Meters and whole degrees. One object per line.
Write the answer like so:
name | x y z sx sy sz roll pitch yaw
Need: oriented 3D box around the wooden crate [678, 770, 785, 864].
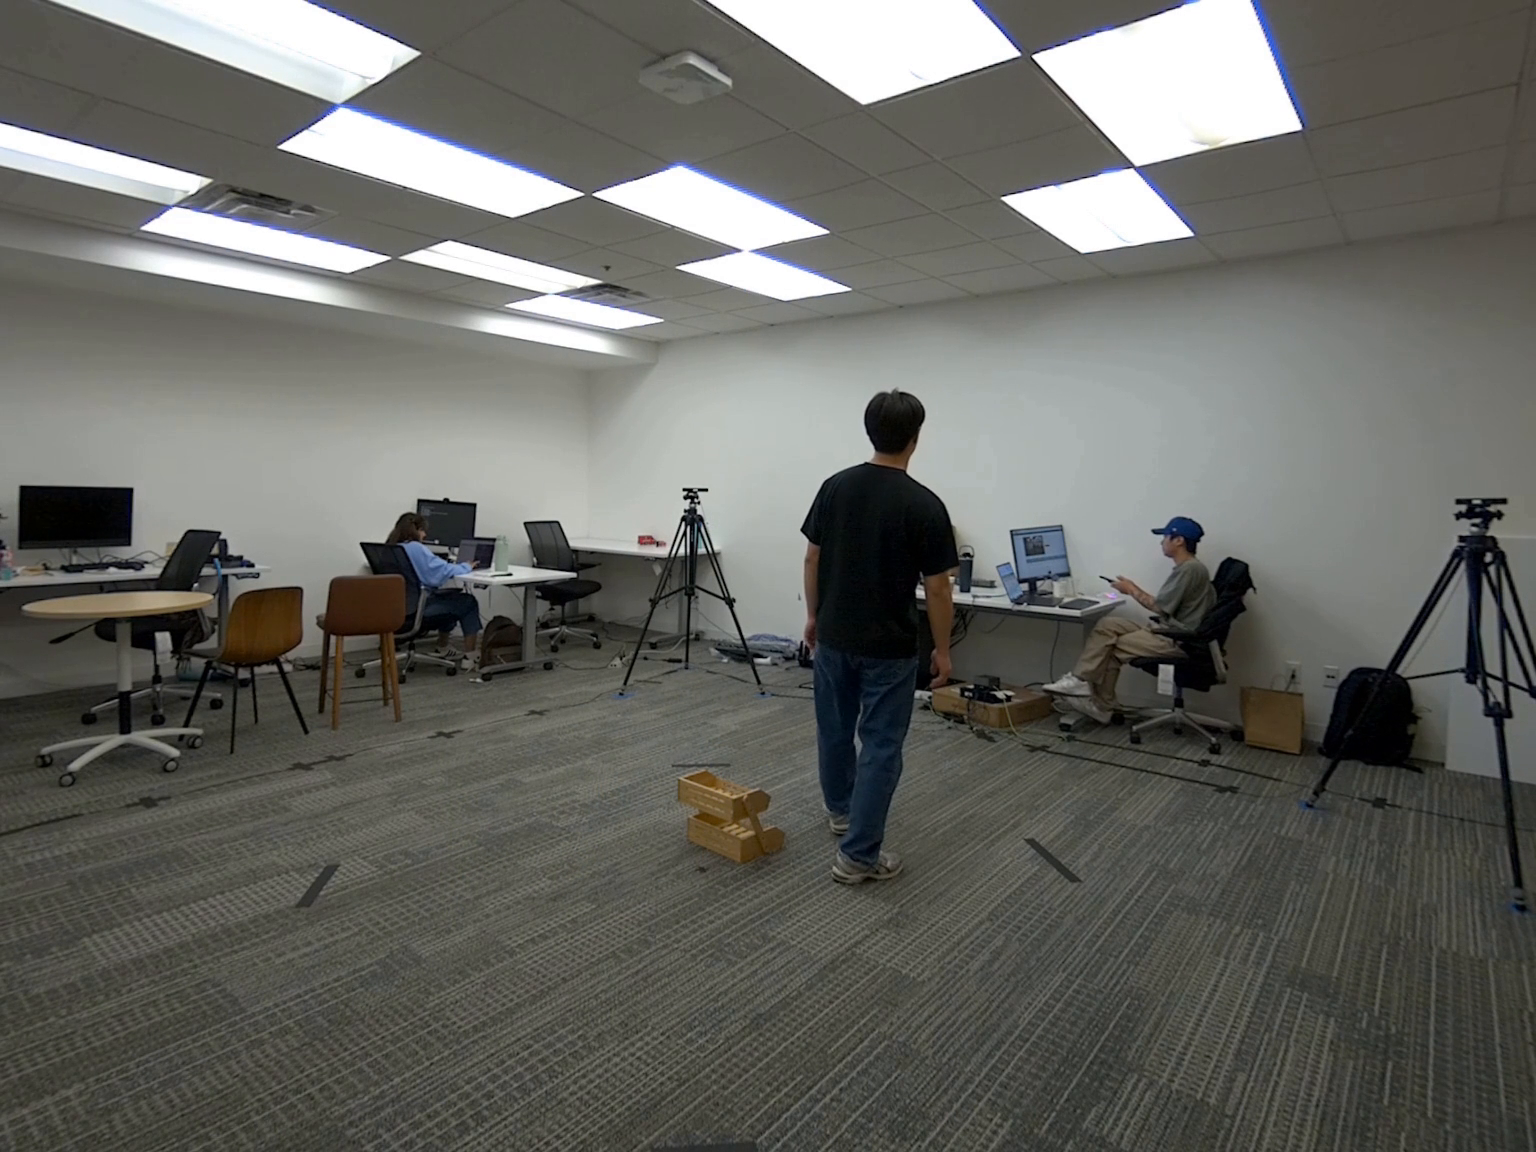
wooden crate | -0.150 0.915 3.334 0.335 0.272 0.293 5 7 43
